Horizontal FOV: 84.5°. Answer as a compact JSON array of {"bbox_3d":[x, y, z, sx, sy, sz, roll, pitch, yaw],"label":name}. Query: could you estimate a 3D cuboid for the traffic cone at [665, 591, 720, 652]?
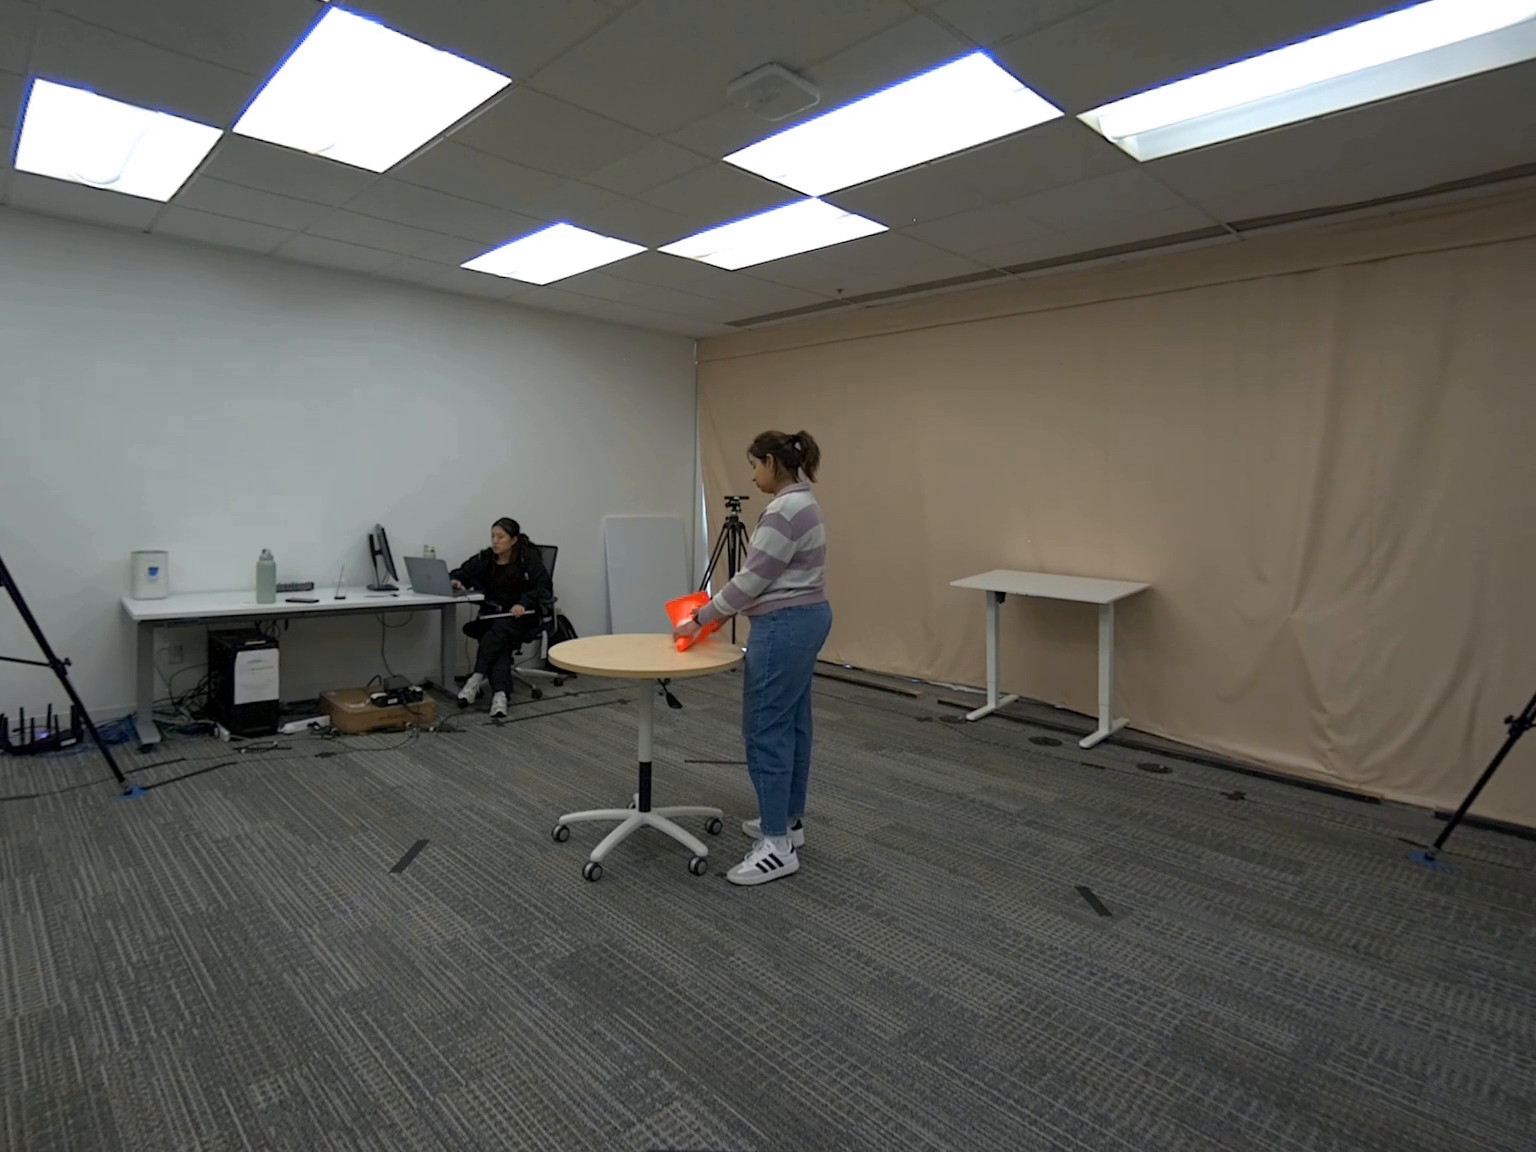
[{"bbox_3d":[-0.335,0.238,3.473,0.206,0.200,0.387,-17,16,8],"label":"traffic cone"}]
